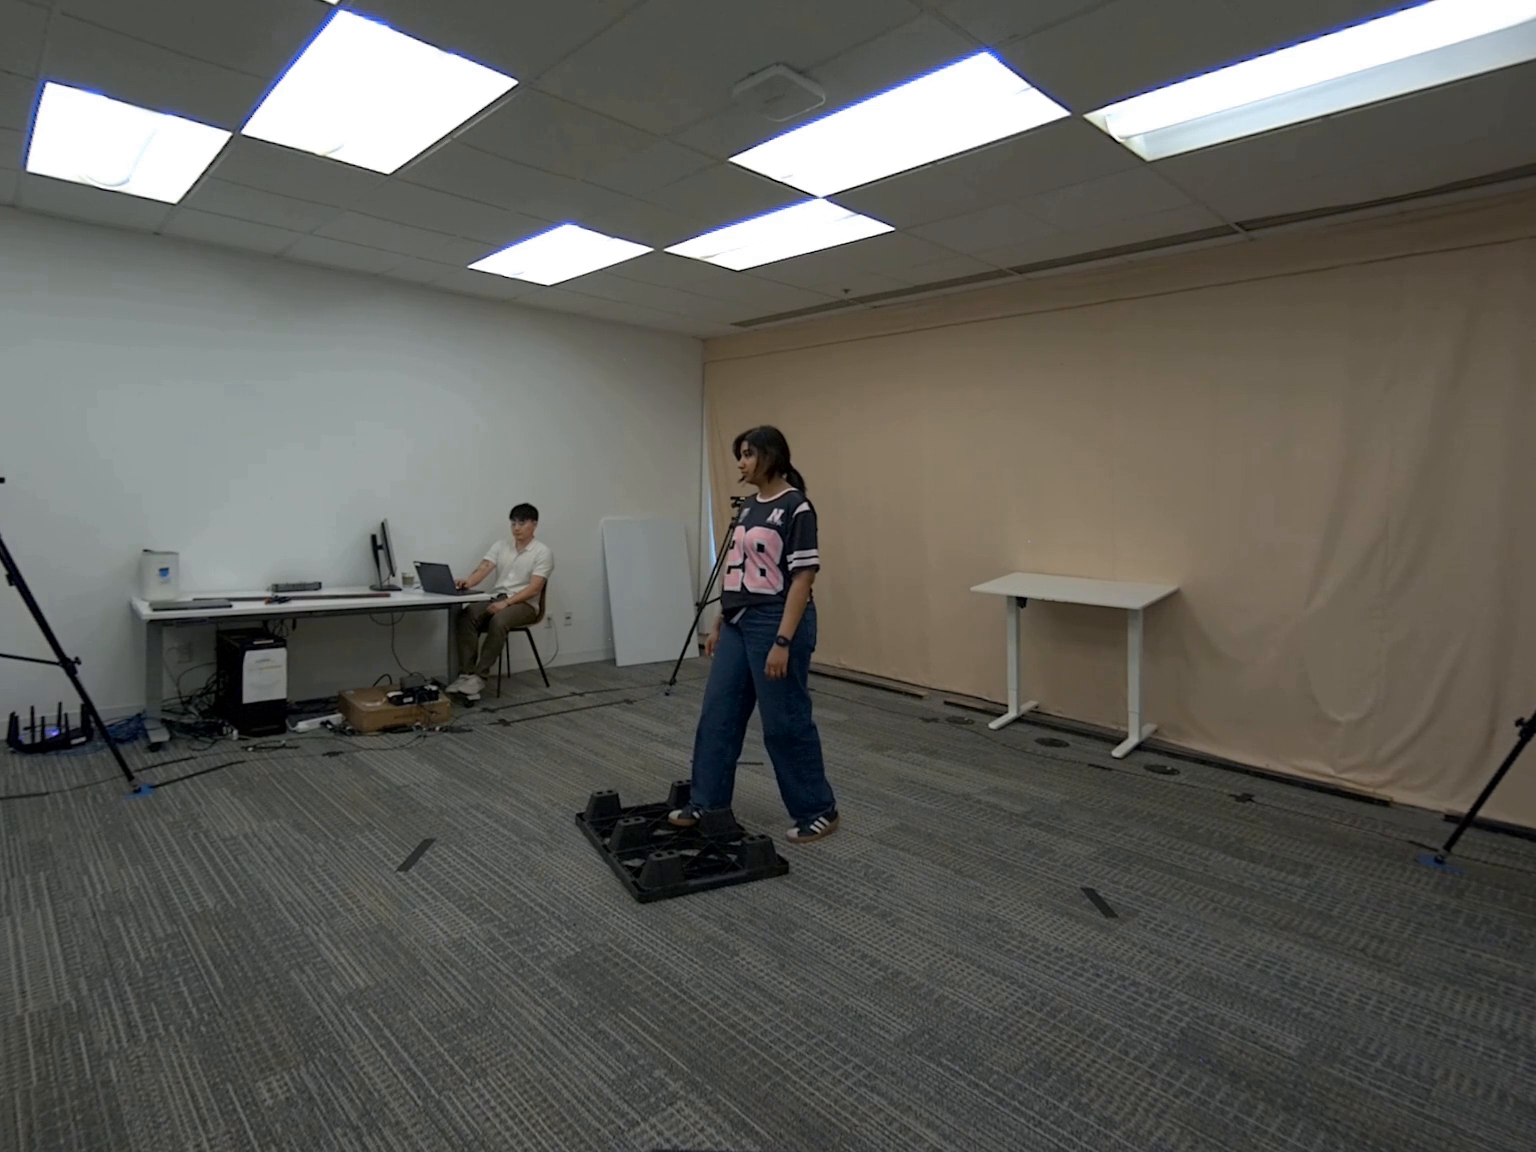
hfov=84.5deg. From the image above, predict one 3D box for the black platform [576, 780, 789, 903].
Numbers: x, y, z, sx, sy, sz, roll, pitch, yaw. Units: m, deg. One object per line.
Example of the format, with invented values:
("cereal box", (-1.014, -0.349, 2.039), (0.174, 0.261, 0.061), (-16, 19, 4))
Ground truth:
("black platform", (-0.369, 1.013, 3.342), (0.593, 0.143, 0.824), (-2, 6, -28))
